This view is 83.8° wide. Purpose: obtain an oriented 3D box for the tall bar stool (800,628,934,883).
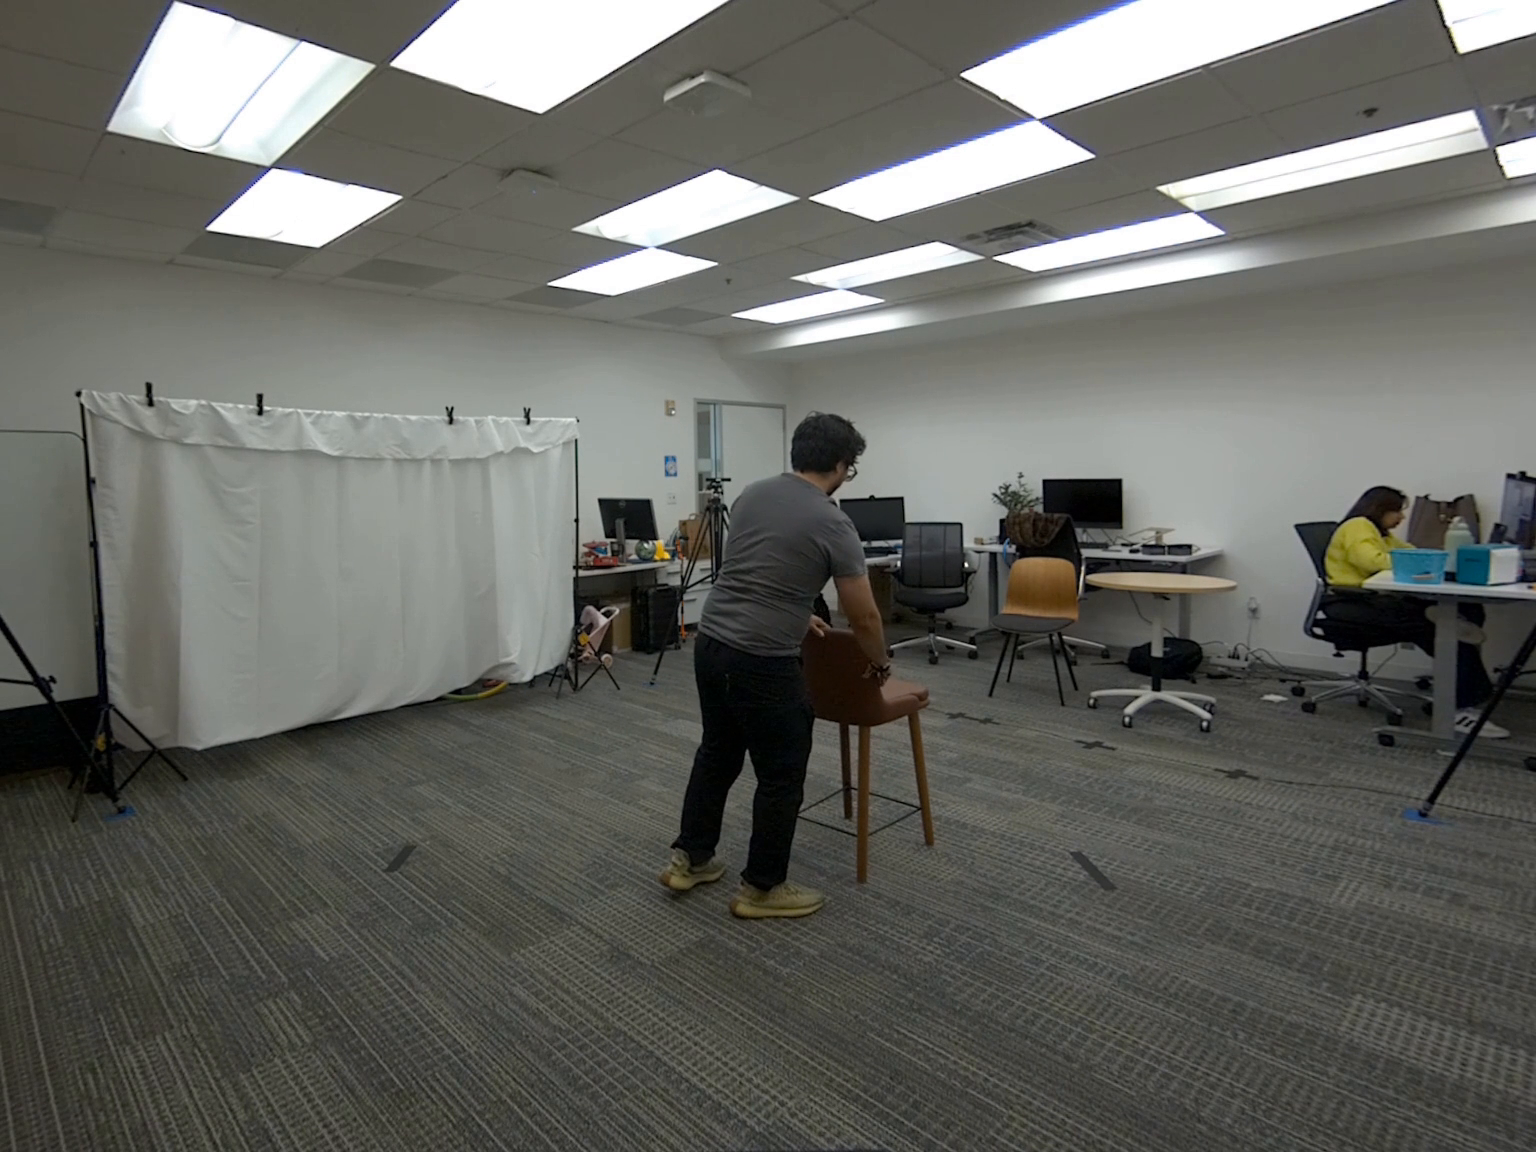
[{"bbox_3d":[0.317,0.589,3.185,0.470,0.885,0.456,3,8,43],"label":"tall bar stool"}]
